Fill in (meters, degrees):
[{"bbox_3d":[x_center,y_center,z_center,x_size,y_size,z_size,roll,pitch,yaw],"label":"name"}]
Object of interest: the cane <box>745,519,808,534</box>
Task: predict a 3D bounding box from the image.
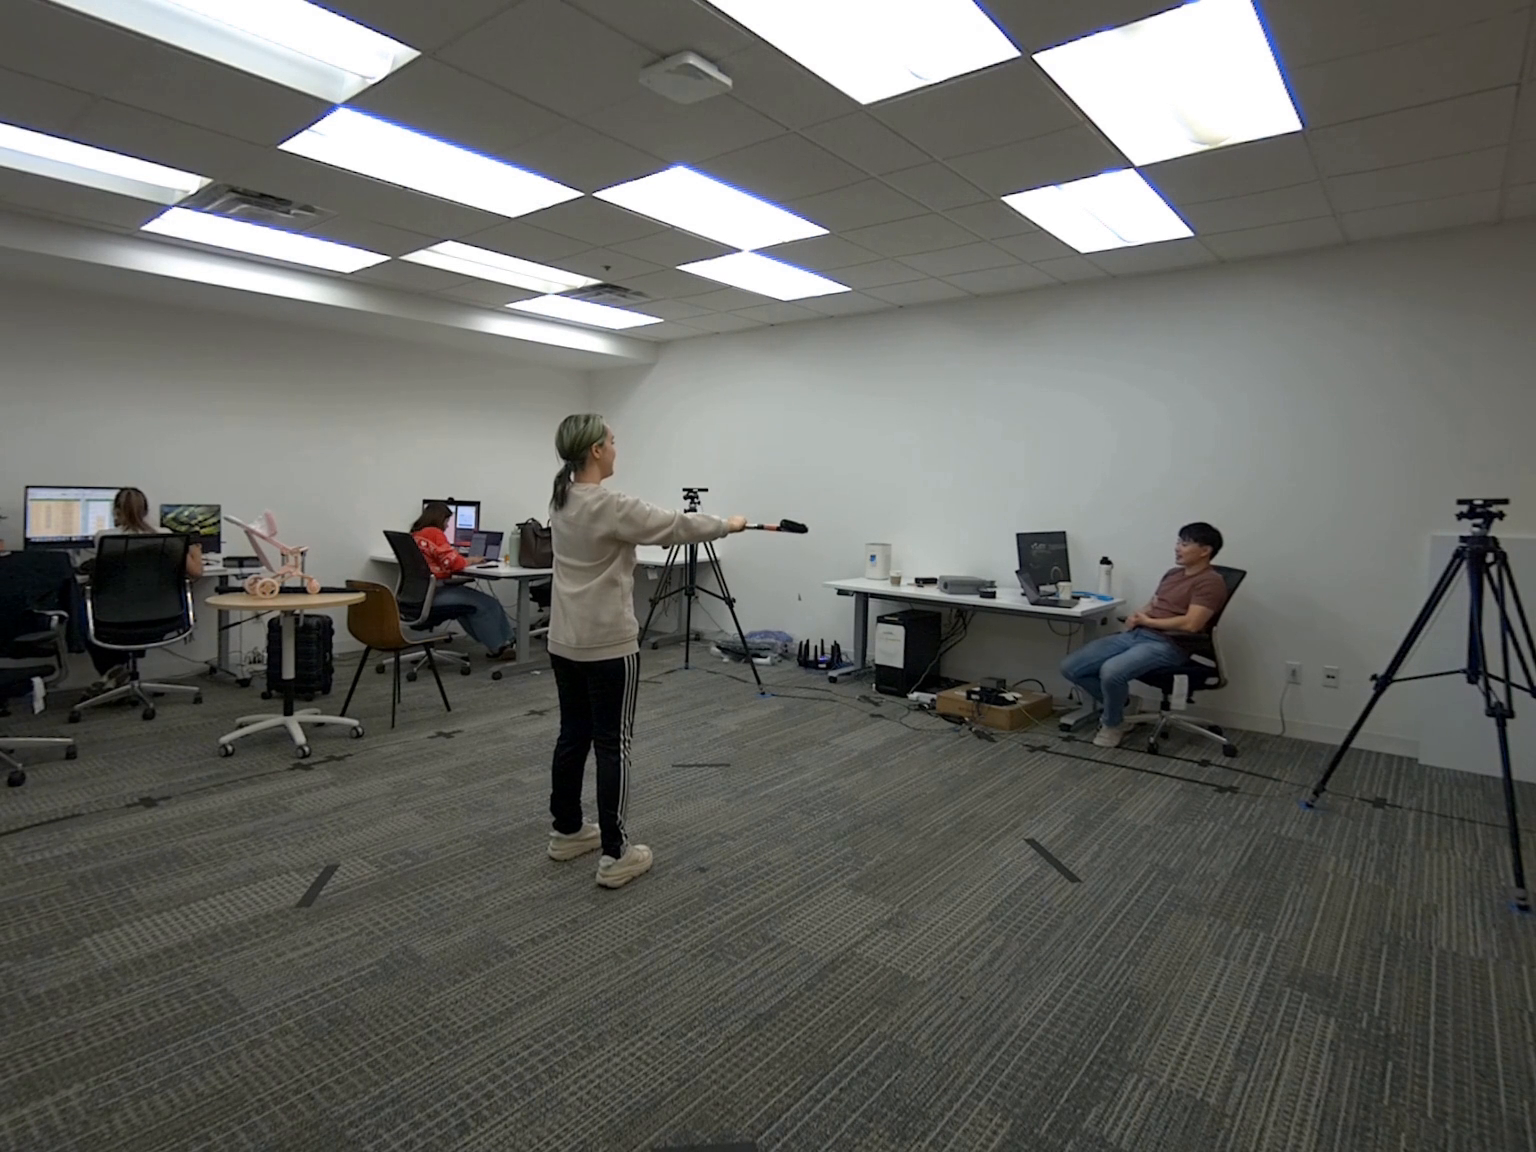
[{"bbox_3d":[-0.196,-0.192,3.416,0.199,0.152,0.938,14,-7,-43],"label":"cane"}]
